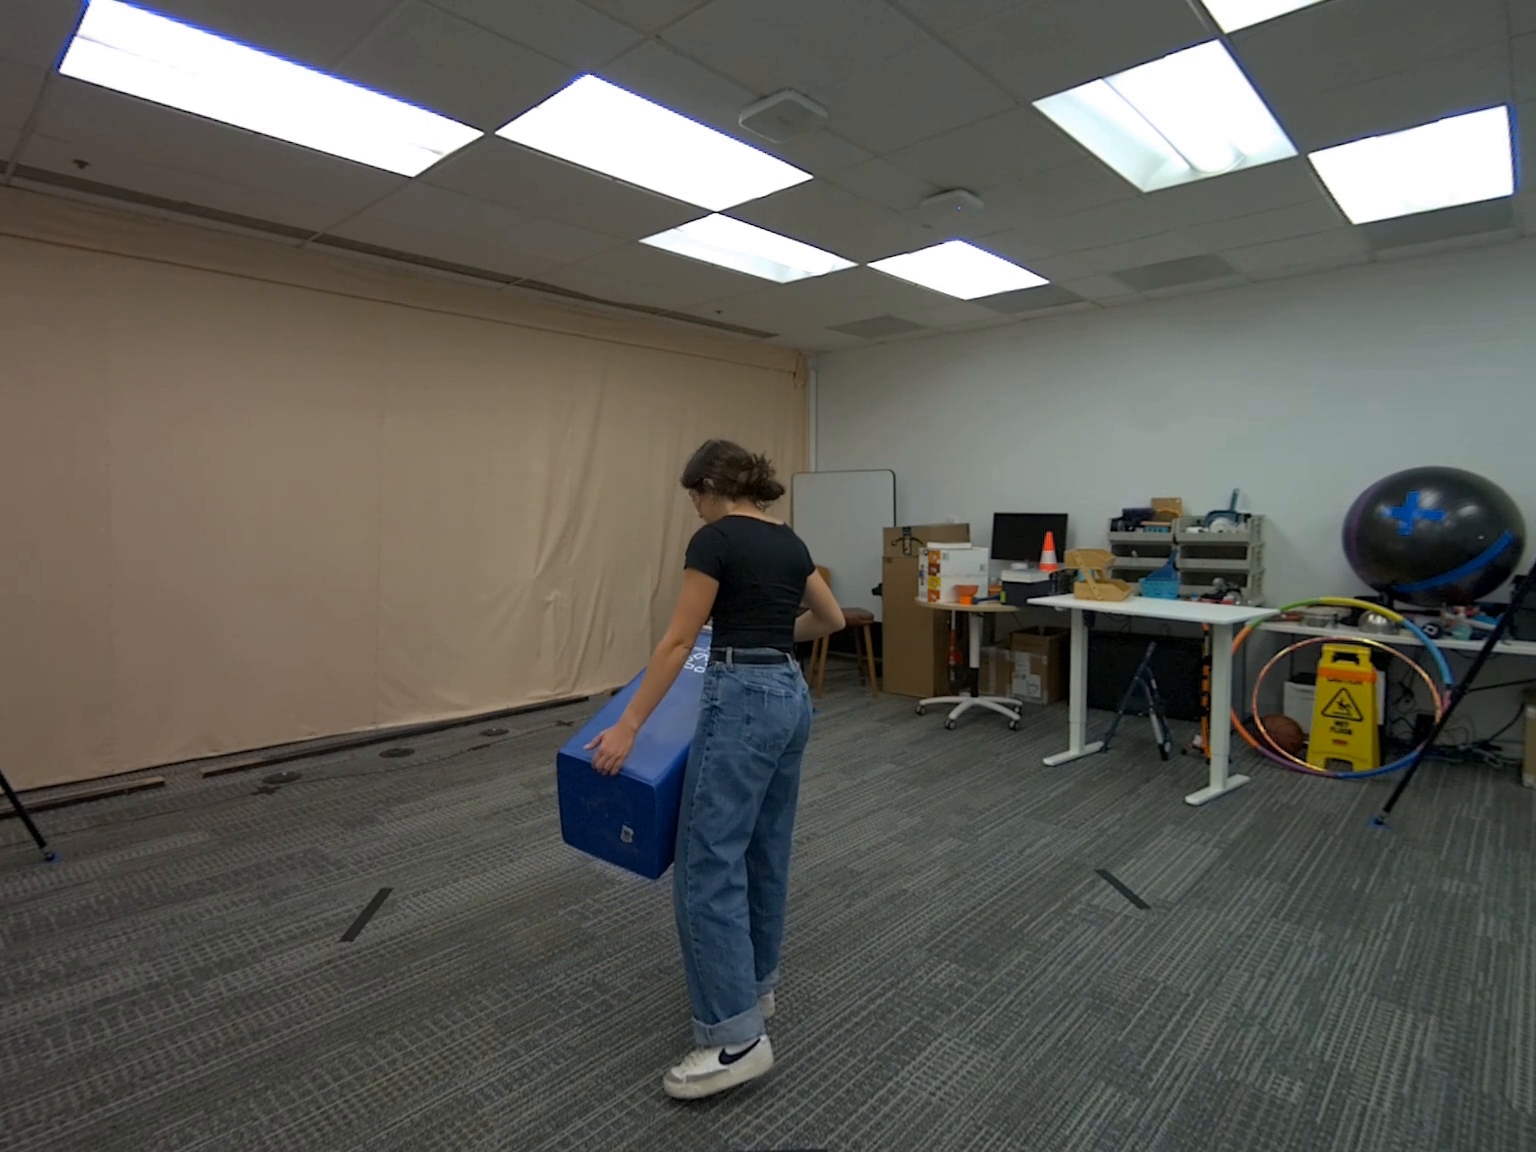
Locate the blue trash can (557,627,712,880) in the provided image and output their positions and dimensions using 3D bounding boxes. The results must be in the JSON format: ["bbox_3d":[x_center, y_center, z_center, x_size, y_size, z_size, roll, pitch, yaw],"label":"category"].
[{"bbox_3d":[-0.264,0.482,2.420,0.388,0.369,0.704,13,28,24],"label":"blue trash can"}]
